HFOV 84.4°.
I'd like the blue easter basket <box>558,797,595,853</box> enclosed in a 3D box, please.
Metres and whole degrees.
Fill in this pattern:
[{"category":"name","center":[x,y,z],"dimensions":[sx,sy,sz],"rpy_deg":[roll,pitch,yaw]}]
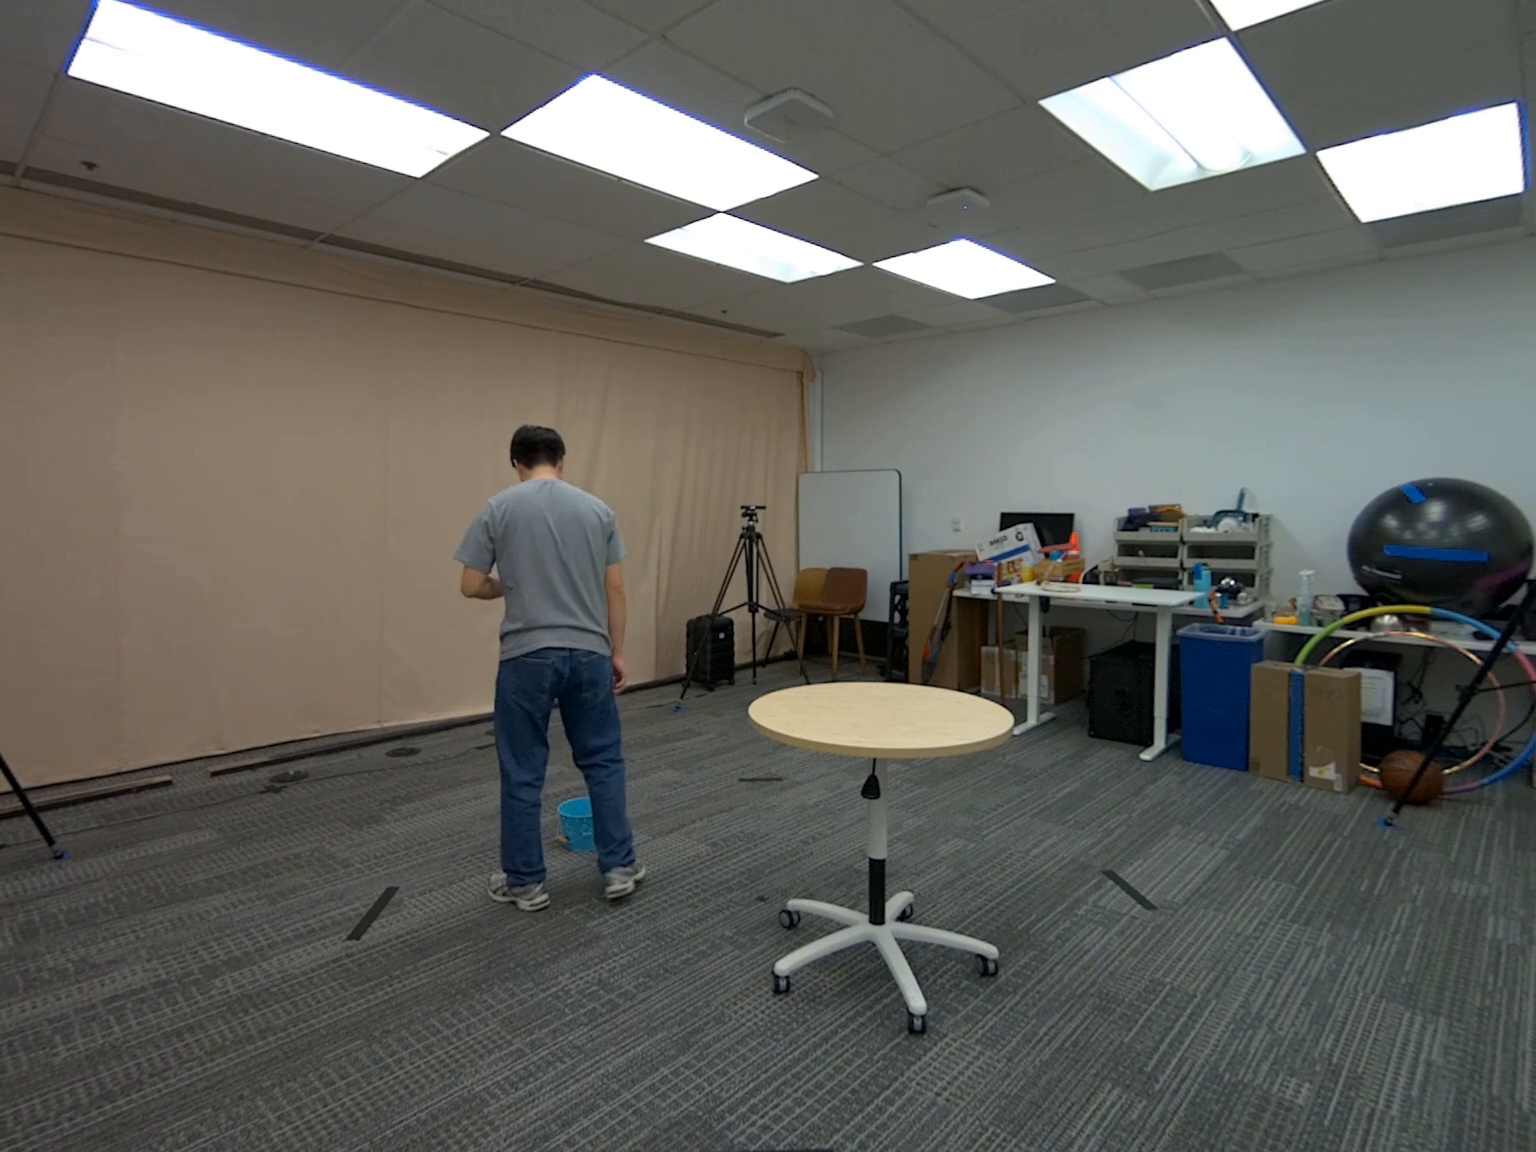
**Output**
[{"category":"blue easter basket","center":[-0.755,1.029,3.492],"dimensions":[0.243,0.155,0.244],"rpy_deg":[0,3,-2]}]
